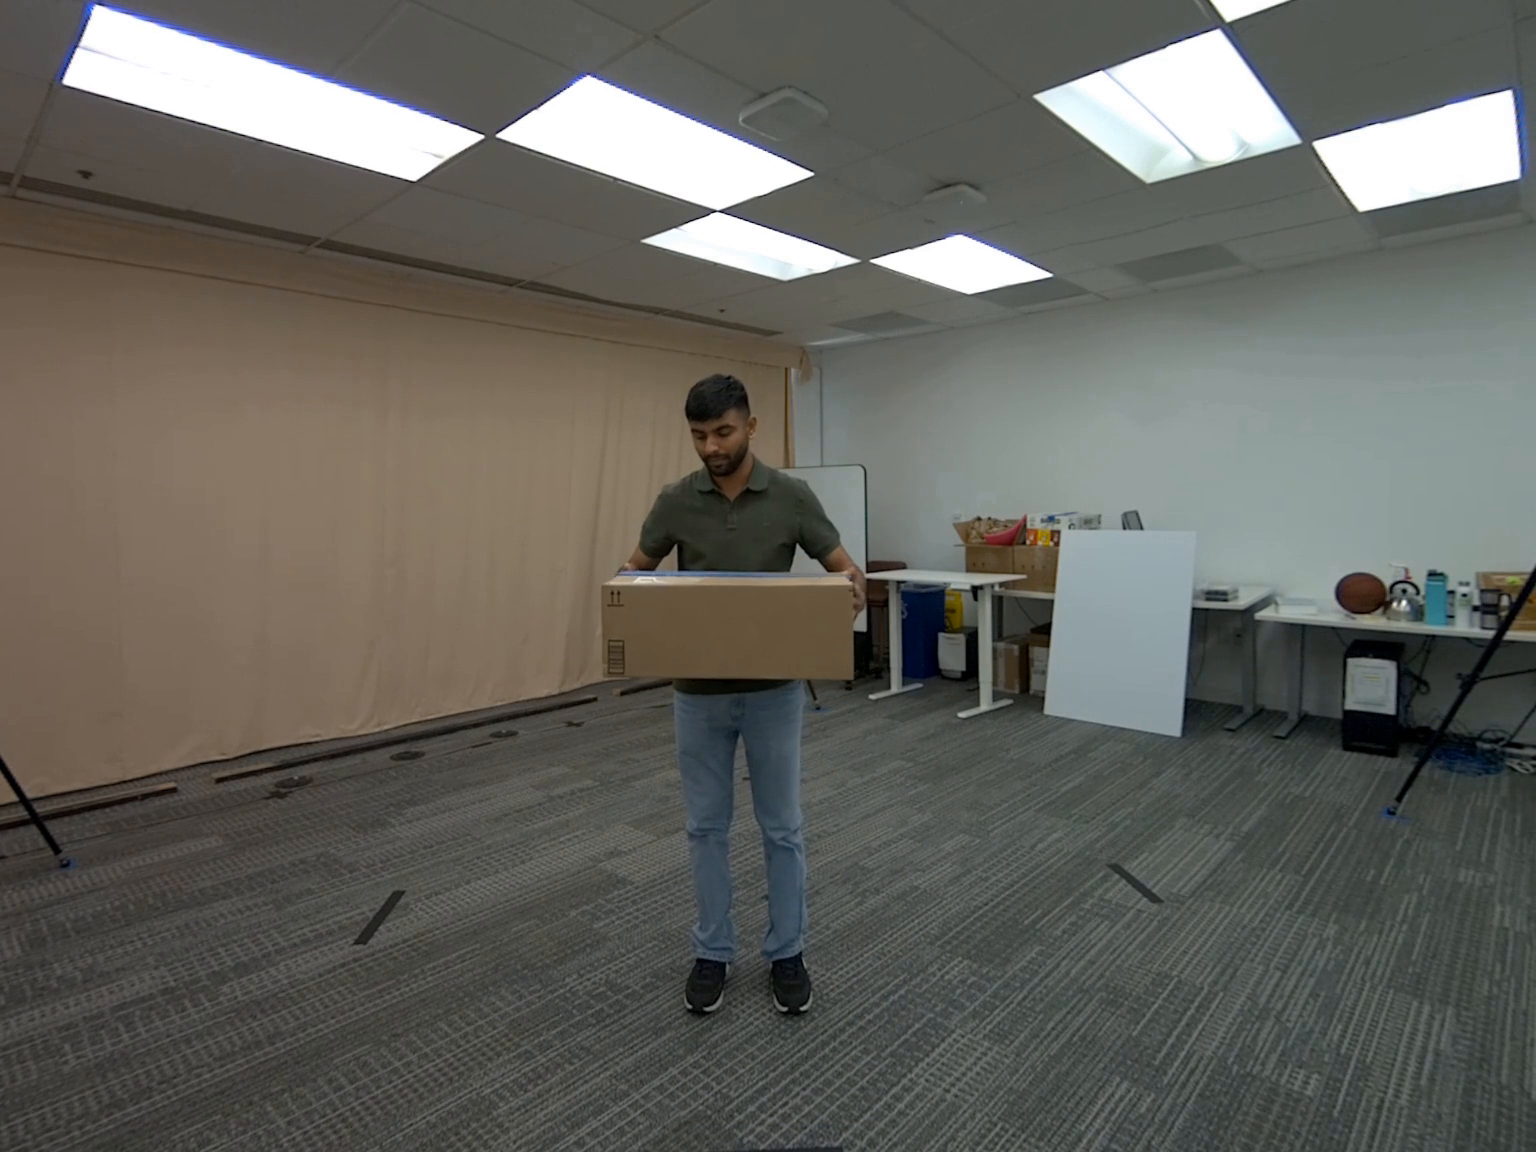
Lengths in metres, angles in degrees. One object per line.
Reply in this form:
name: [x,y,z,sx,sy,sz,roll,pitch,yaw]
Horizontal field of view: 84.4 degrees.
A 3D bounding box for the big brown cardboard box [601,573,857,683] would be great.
big brown cardboard box: [-0.086,0.103,2.082,0.592,0.233,0.416,0,2,3]
